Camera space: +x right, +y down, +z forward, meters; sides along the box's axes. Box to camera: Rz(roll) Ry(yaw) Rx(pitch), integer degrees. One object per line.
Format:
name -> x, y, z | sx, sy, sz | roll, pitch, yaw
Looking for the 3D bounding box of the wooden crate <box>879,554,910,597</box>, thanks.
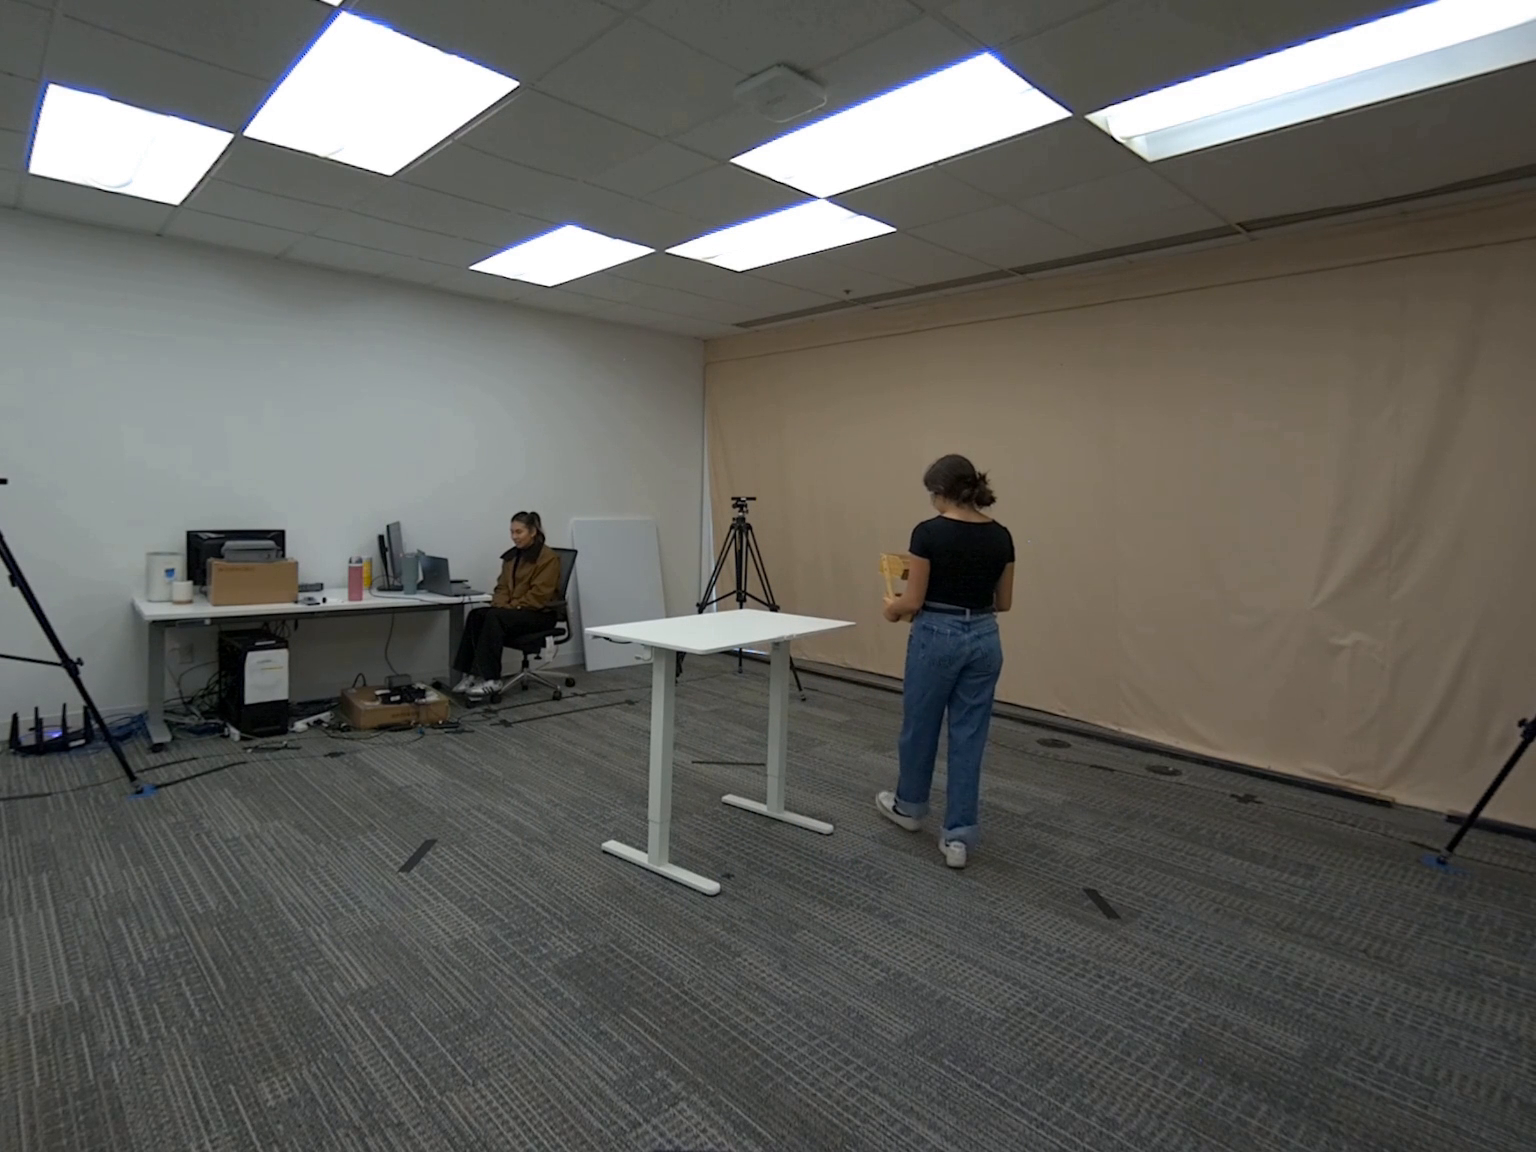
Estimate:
wooden crate -> 0.685, 0.050, 3.607 | 0.319, 0.272, 0.308 | 2, 4, -21
